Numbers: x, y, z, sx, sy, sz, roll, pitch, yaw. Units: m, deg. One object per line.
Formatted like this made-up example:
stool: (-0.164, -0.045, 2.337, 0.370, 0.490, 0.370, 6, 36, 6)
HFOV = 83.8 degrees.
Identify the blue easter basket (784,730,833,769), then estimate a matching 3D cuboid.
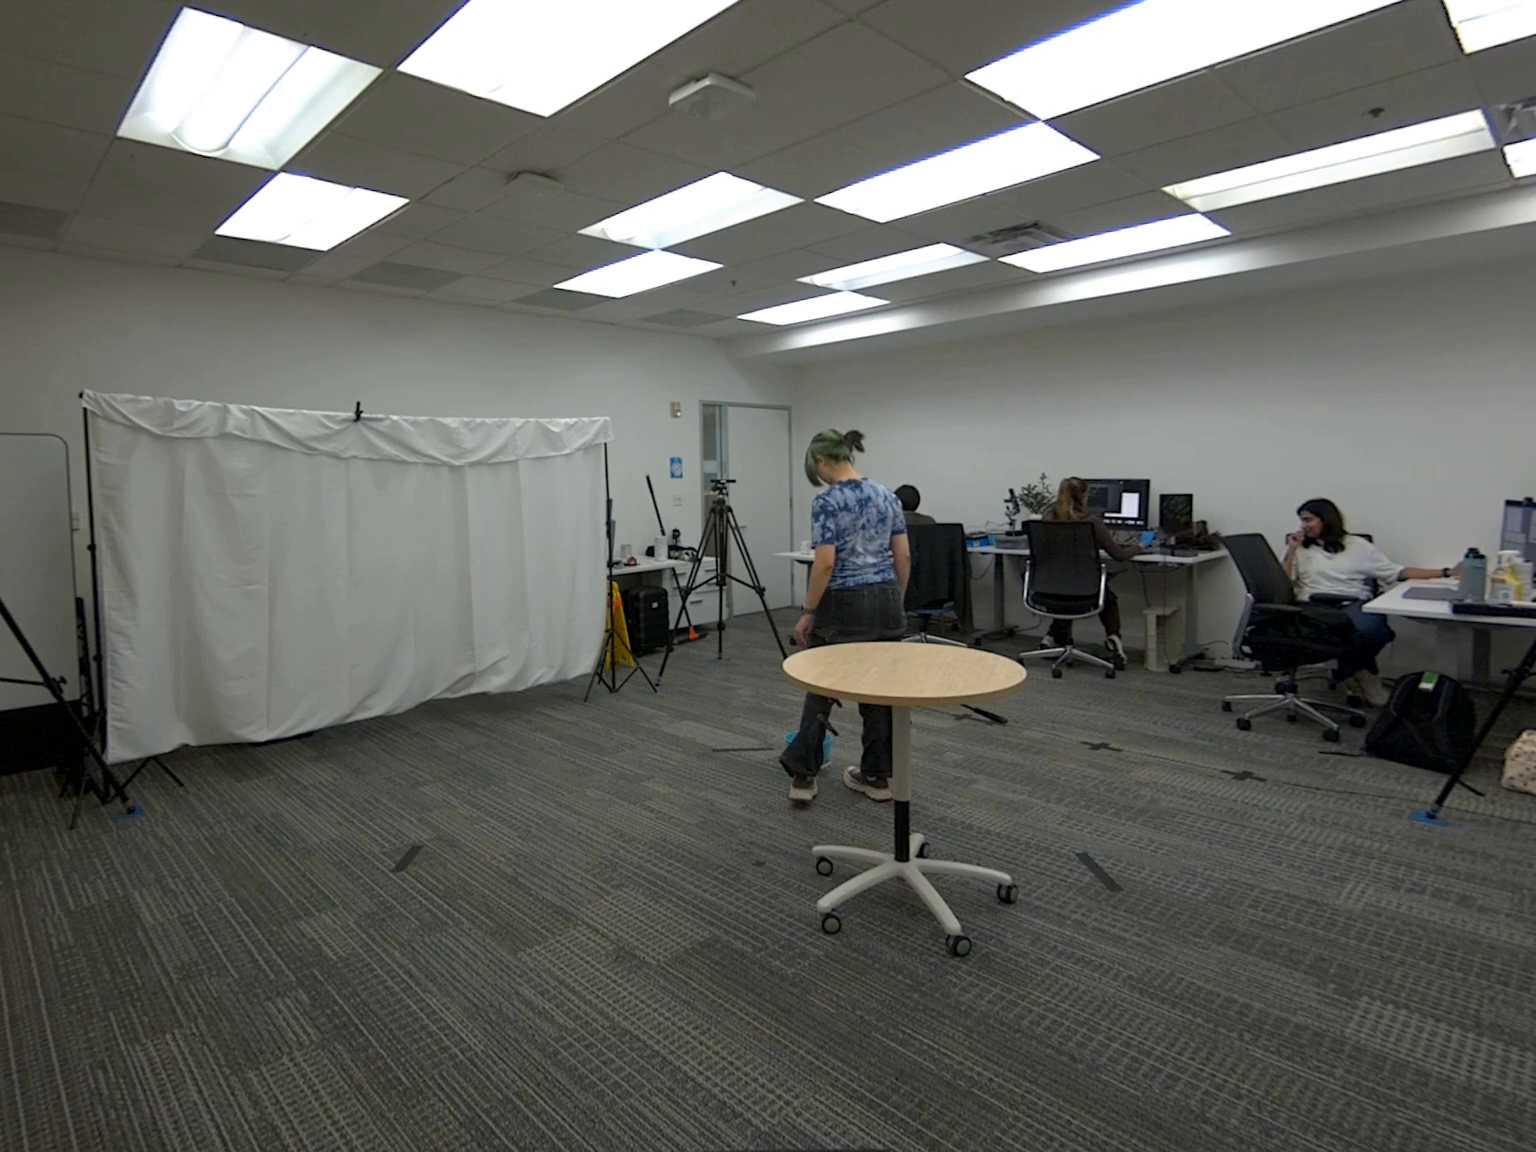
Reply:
blue easter basket: (0.199, 0.854, 4.122, 0.243, 0.155, 0.245, -2, 5, -1)
